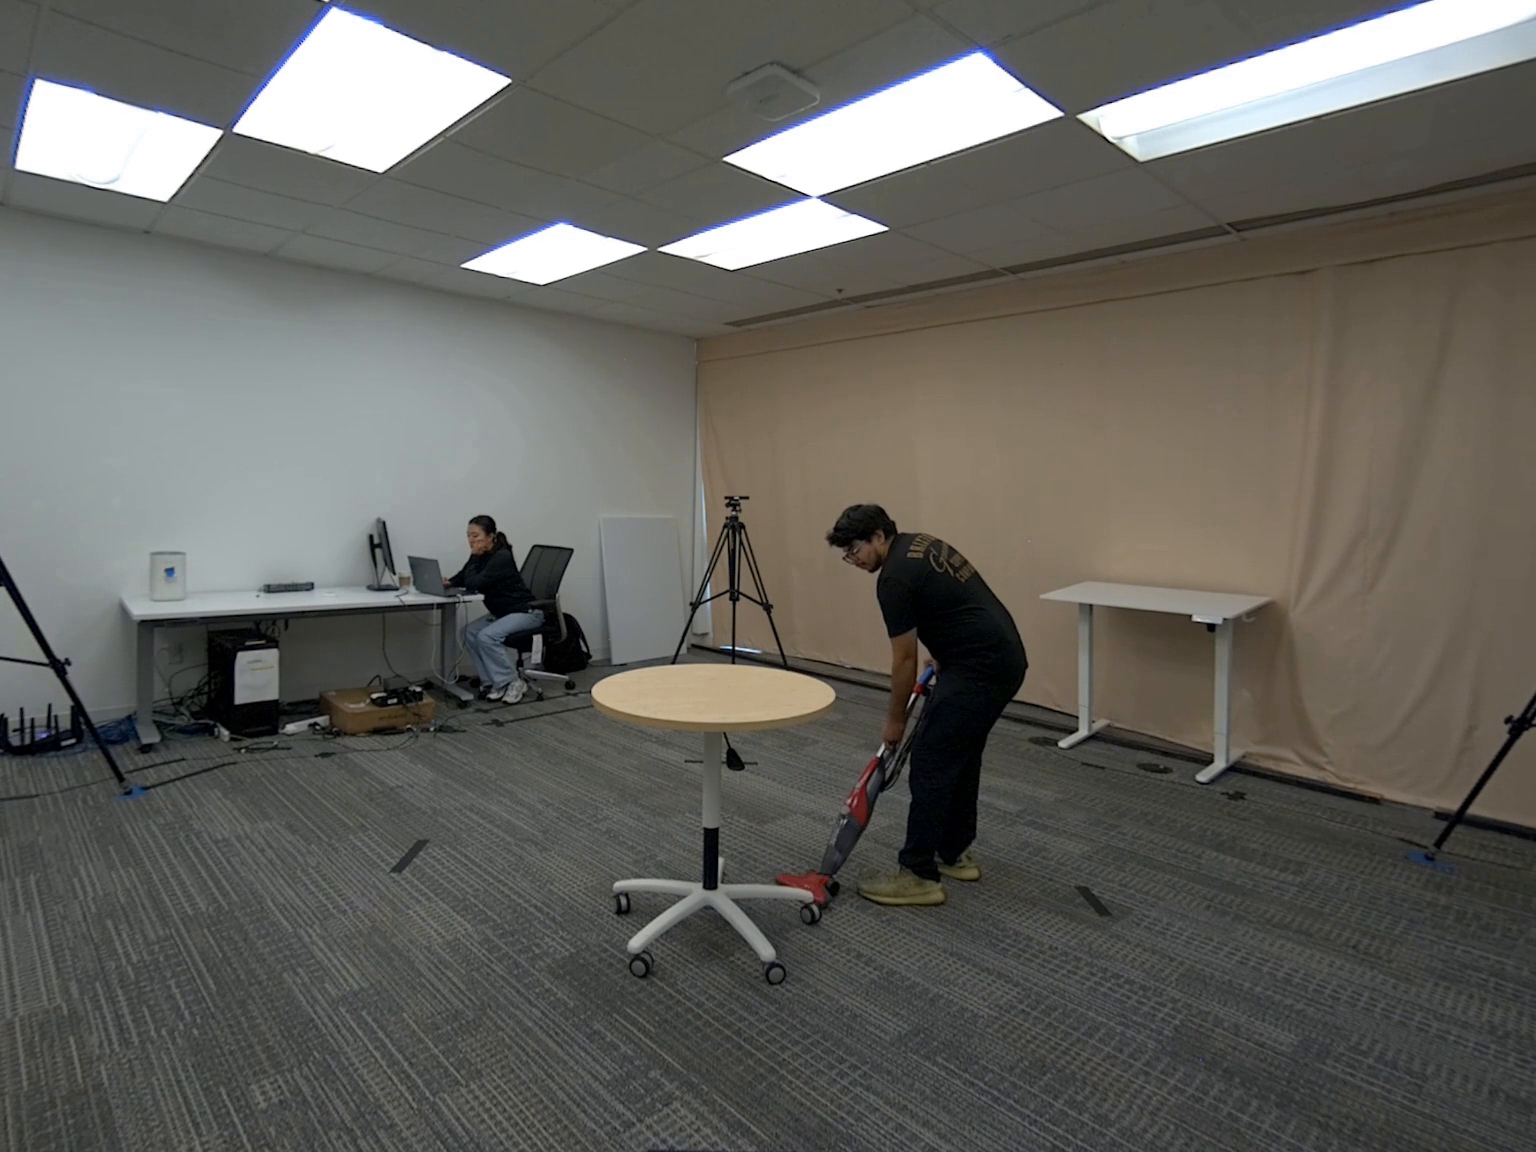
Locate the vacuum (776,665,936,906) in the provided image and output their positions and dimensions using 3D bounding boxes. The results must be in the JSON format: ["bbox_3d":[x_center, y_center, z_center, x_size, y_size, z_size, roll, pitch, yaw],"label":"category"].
[{"bbox_3d":[0.421,0.717,3.166,0.258,1.051,0.140,3,-41,51],"label":"vacuum"}]
